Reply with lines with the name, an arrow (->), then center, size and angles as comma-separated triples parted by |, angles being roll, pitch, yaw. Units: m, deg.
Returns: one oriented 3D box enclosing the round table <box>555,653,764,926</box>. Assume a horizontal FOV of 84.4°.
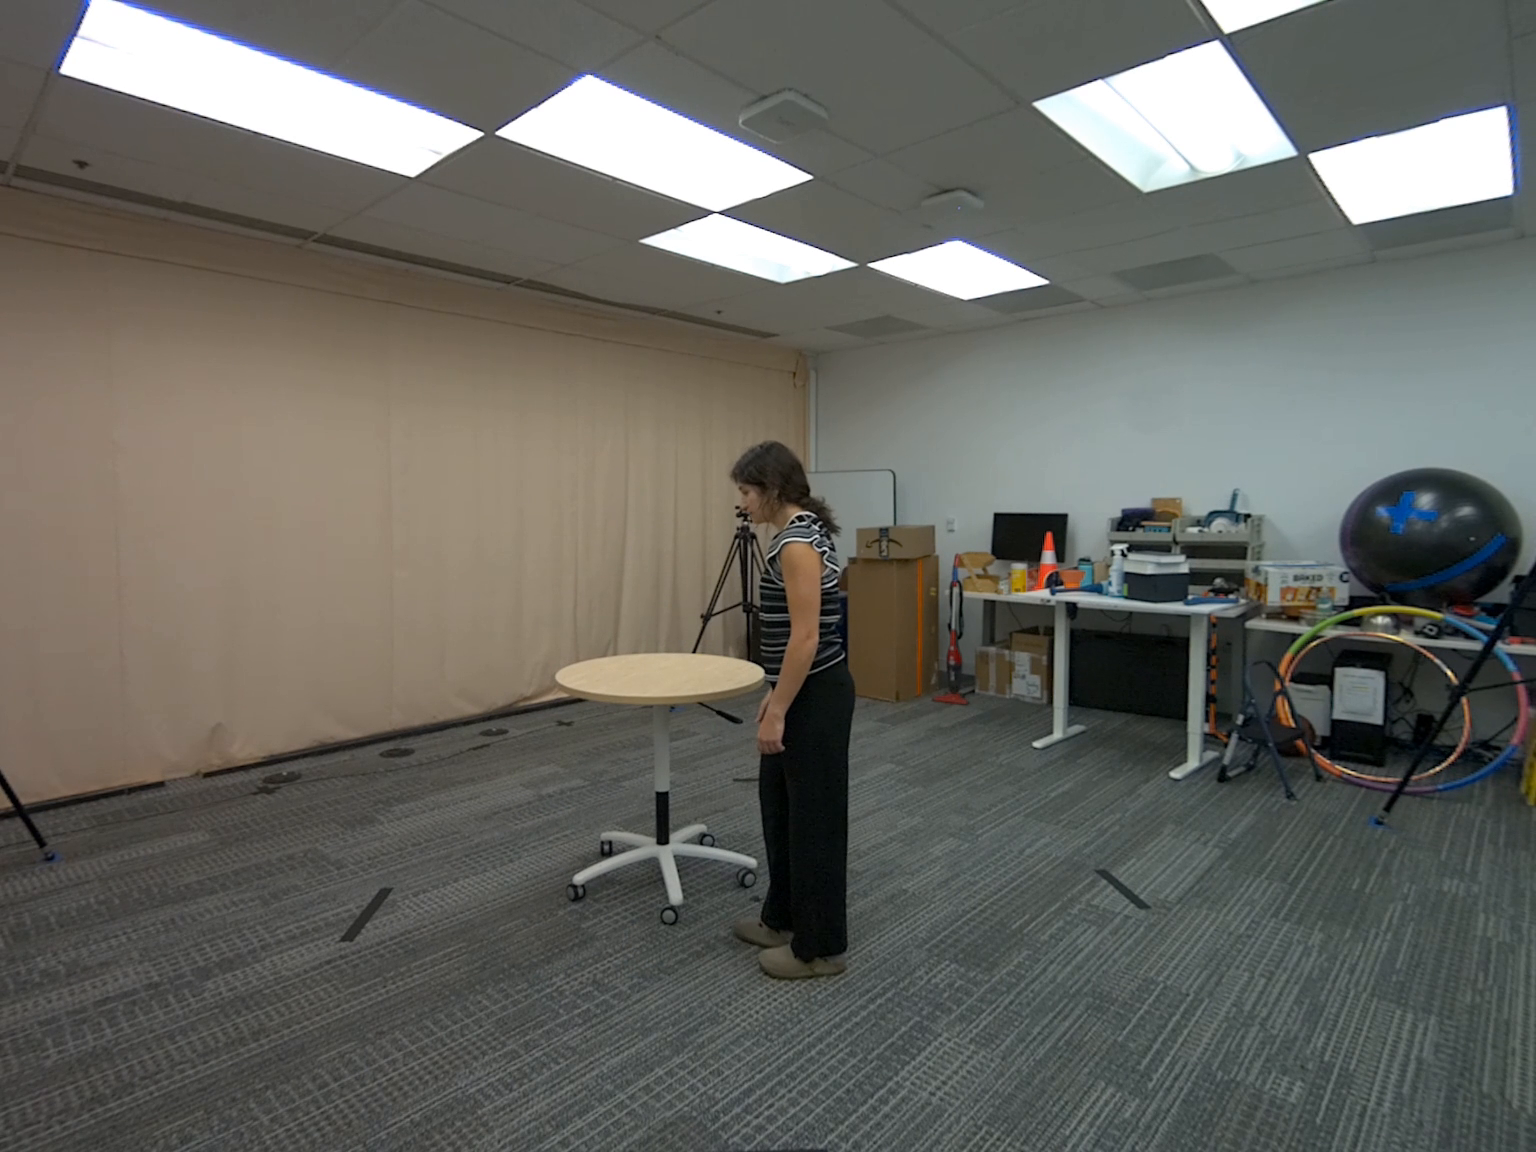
round table -> -0.394, 0.748, 3.128 | 0.763, 0.792, 0.767 | 0, 4, -2
